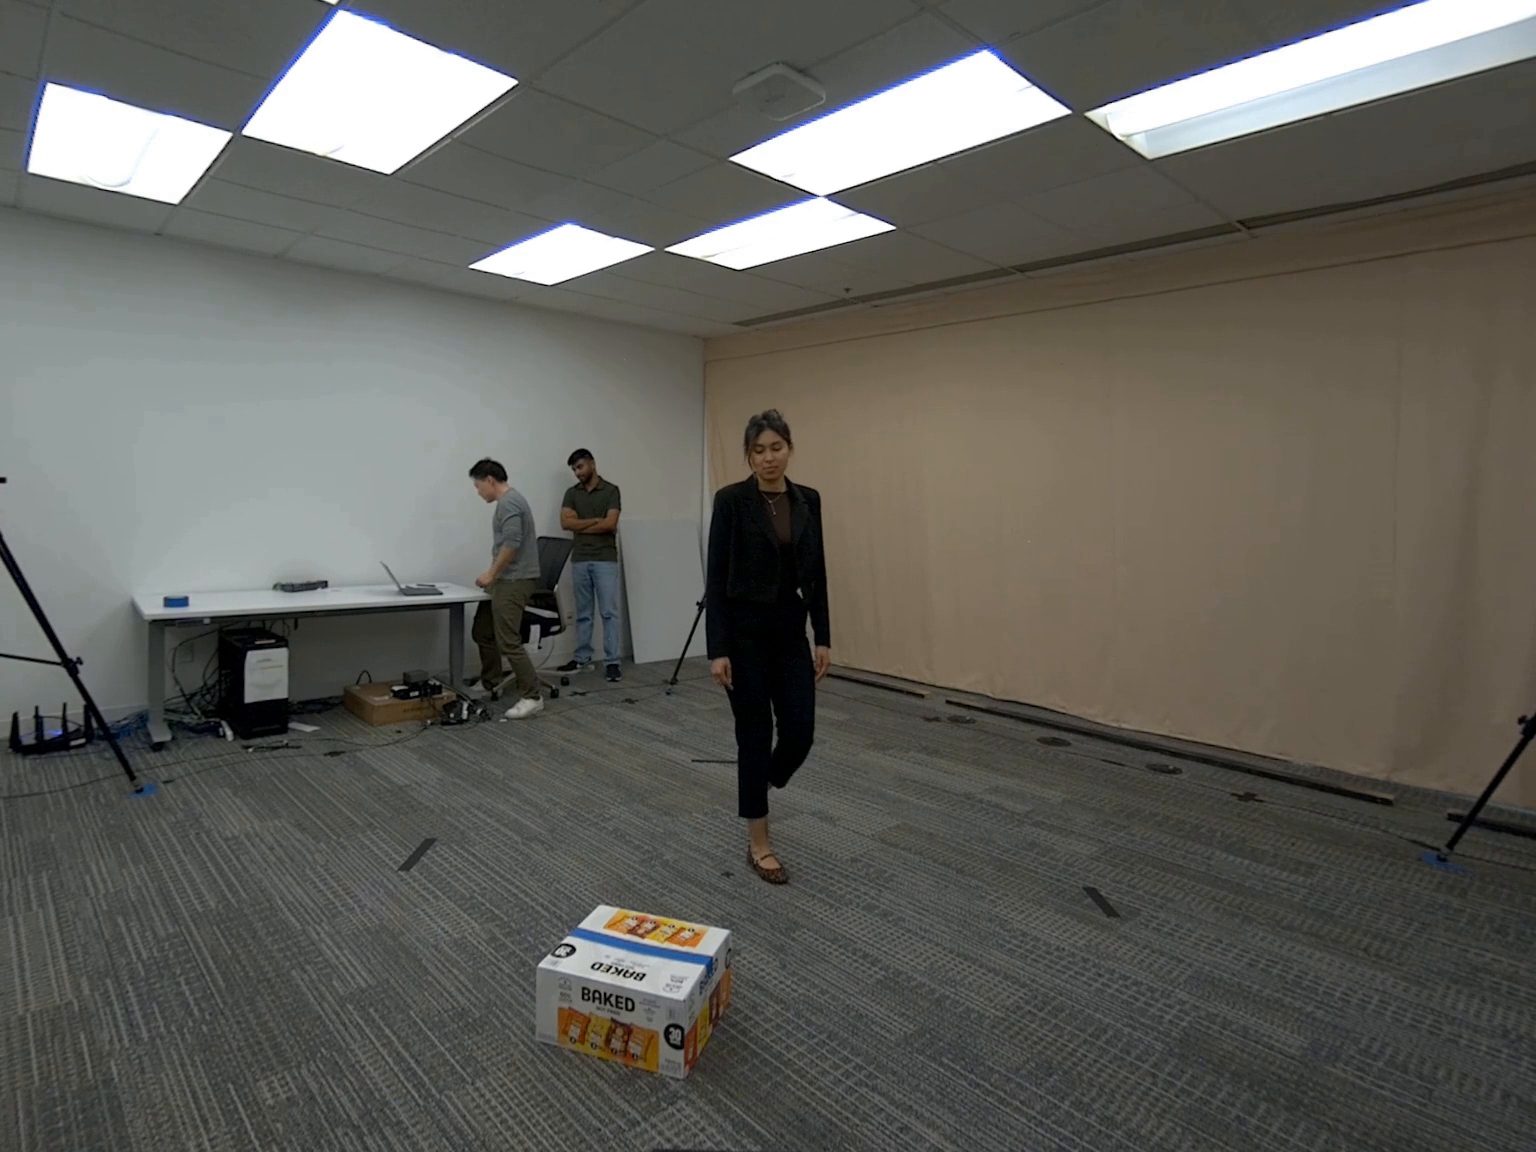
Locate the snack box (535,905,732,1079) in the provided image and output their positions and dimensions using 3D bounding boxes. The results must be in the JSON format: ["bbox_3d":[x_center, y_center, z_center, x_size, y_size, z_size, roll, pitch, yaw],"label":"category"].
[{"bbox_3d":[-0.350,1.082,2.209,0.411,0.205,0.336,3,5,18],"label":"snack box"}]
